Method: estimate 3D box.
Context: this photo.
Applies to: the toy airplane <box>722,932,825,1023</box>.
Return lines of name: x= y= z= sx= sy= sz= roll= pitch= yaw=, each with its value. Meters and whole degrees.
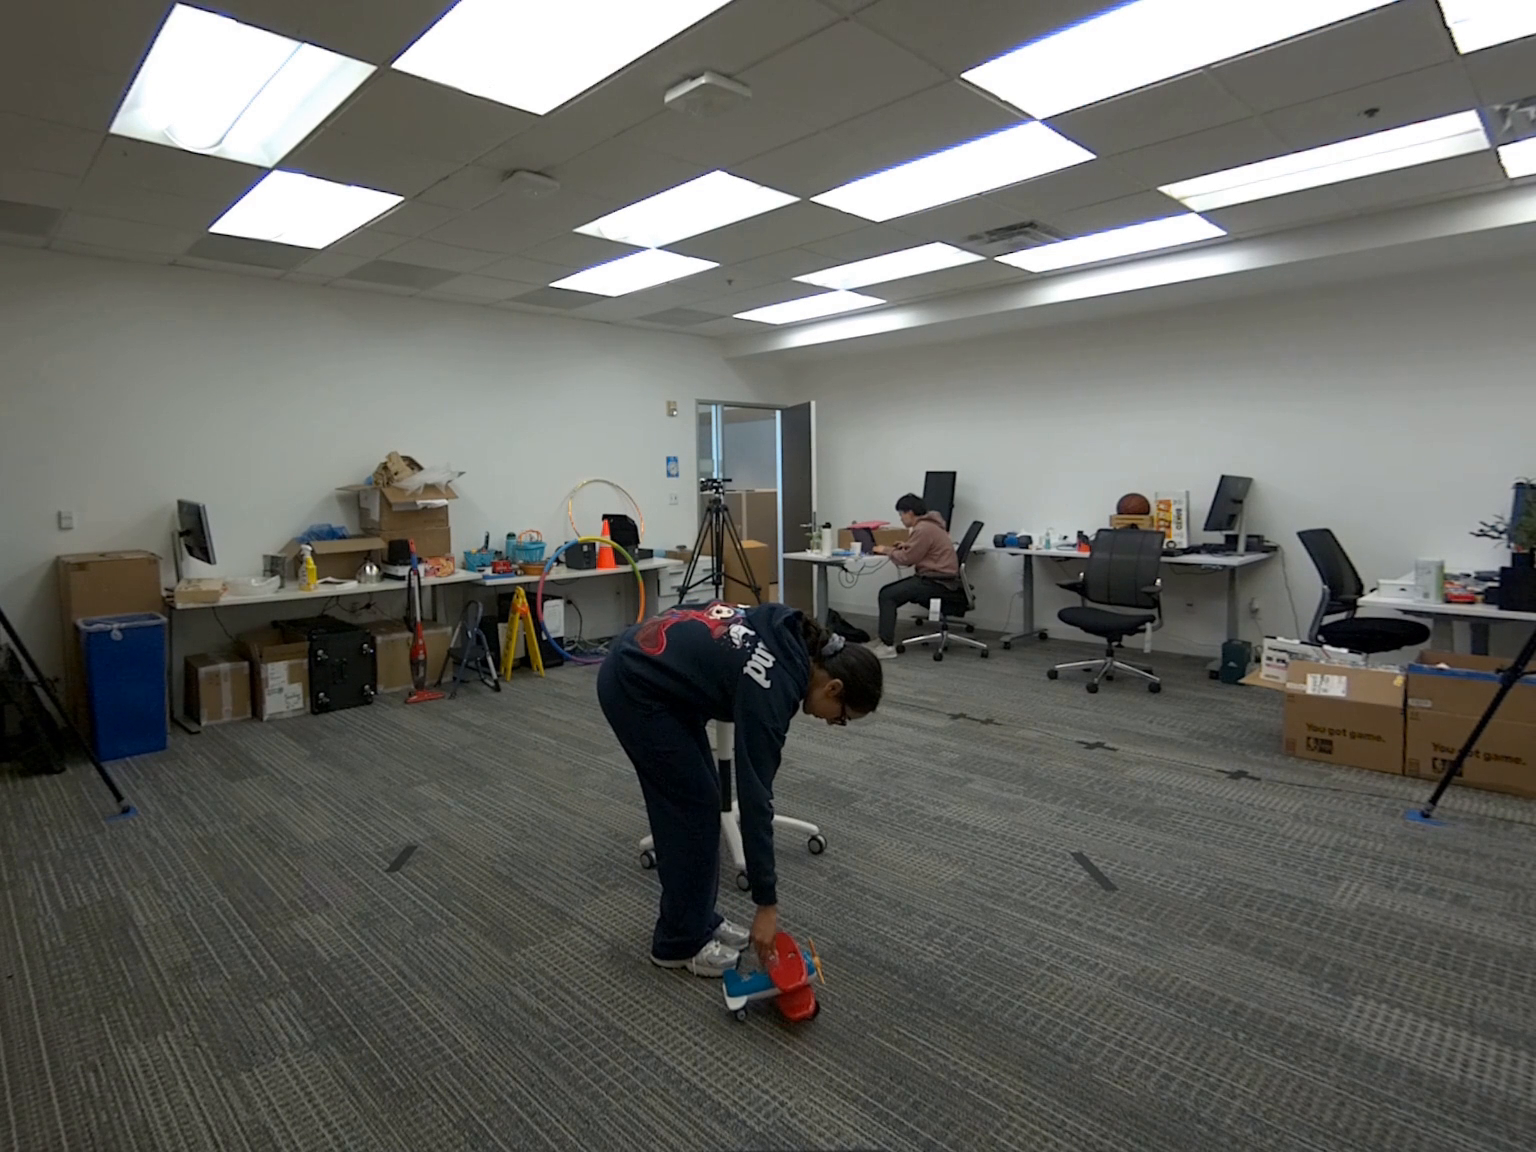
toy airplane: x=0.022 y=1.074 z=2.223 sx=0.253 sy=0.156 sz=0.259 roll=-6 pitch=8 yaw=-37
